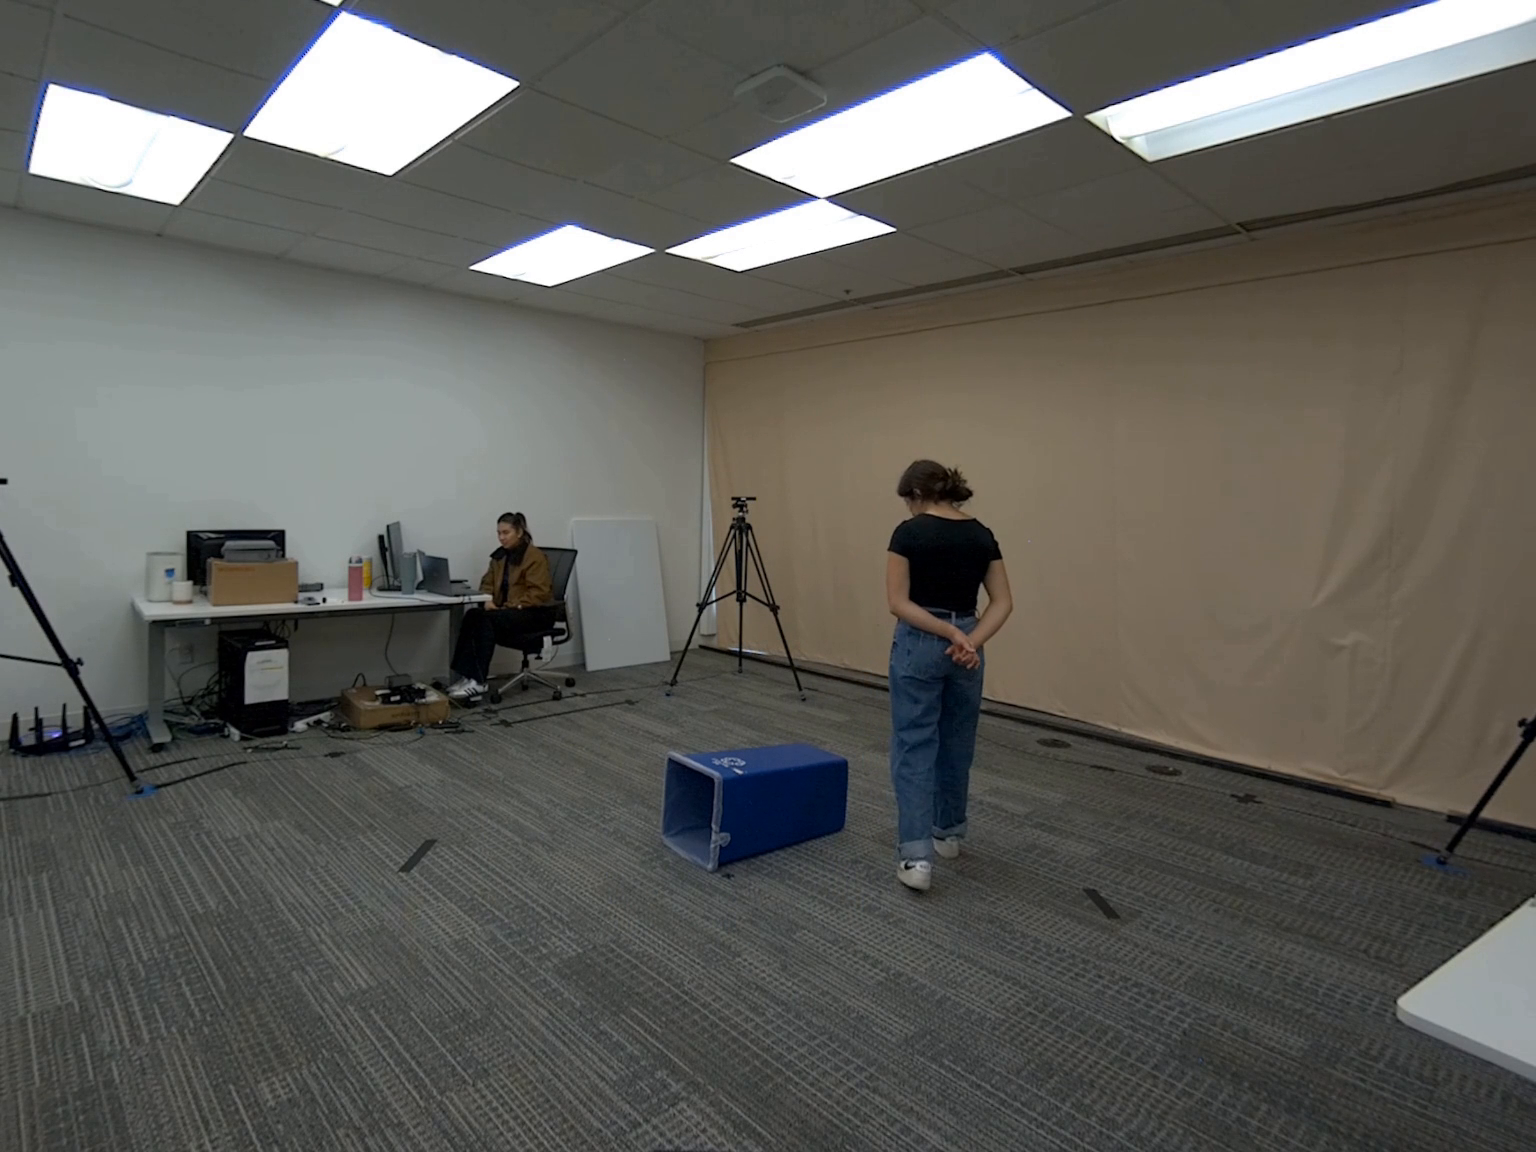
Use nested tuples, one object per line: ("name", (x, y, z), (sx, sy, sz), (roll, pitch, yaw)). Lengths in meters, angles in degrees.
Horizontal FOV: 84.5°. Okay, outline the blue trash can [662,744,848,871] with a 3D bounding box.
("blue trash can", (-0.044, 0.910, 3.465), (0.696, 0.378, 0.383), (2, 2, -39))
